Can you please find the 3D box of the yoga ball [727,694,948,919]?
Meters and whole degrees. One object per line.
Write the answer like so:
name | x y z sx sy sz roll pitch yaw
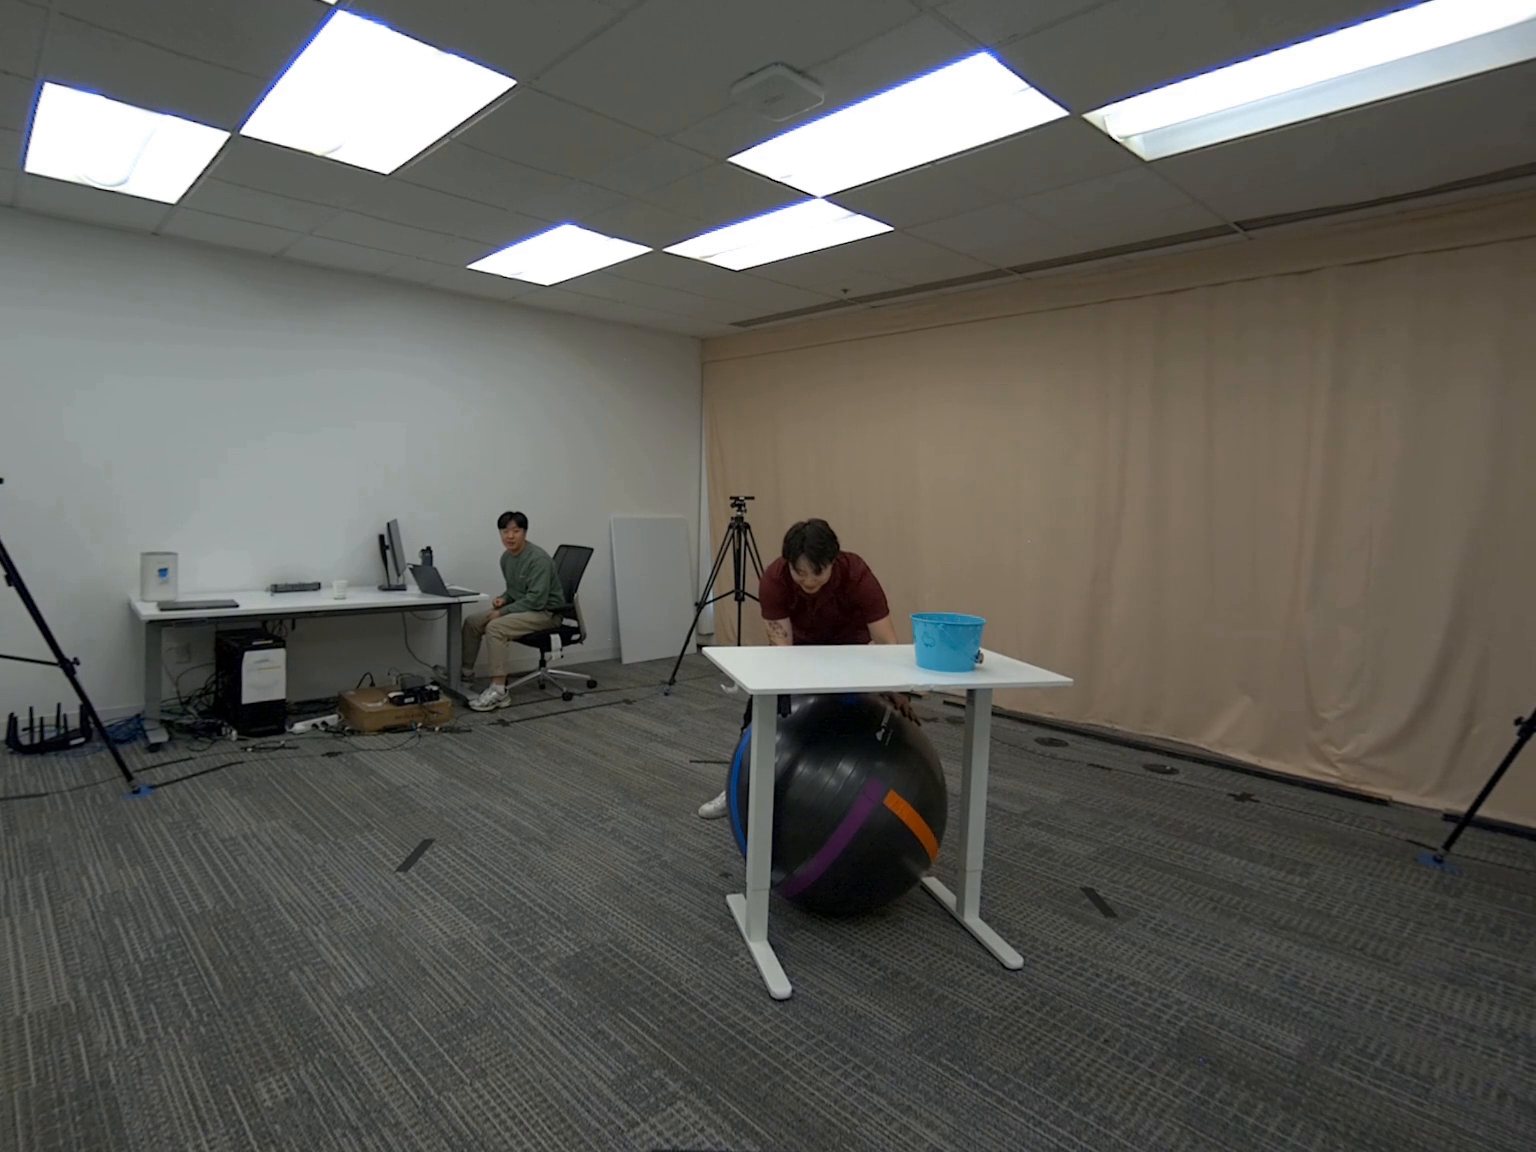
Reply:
yoga ball | 0.228 0.769 2.903 0.757 0.756 0.760 1 4 -1
